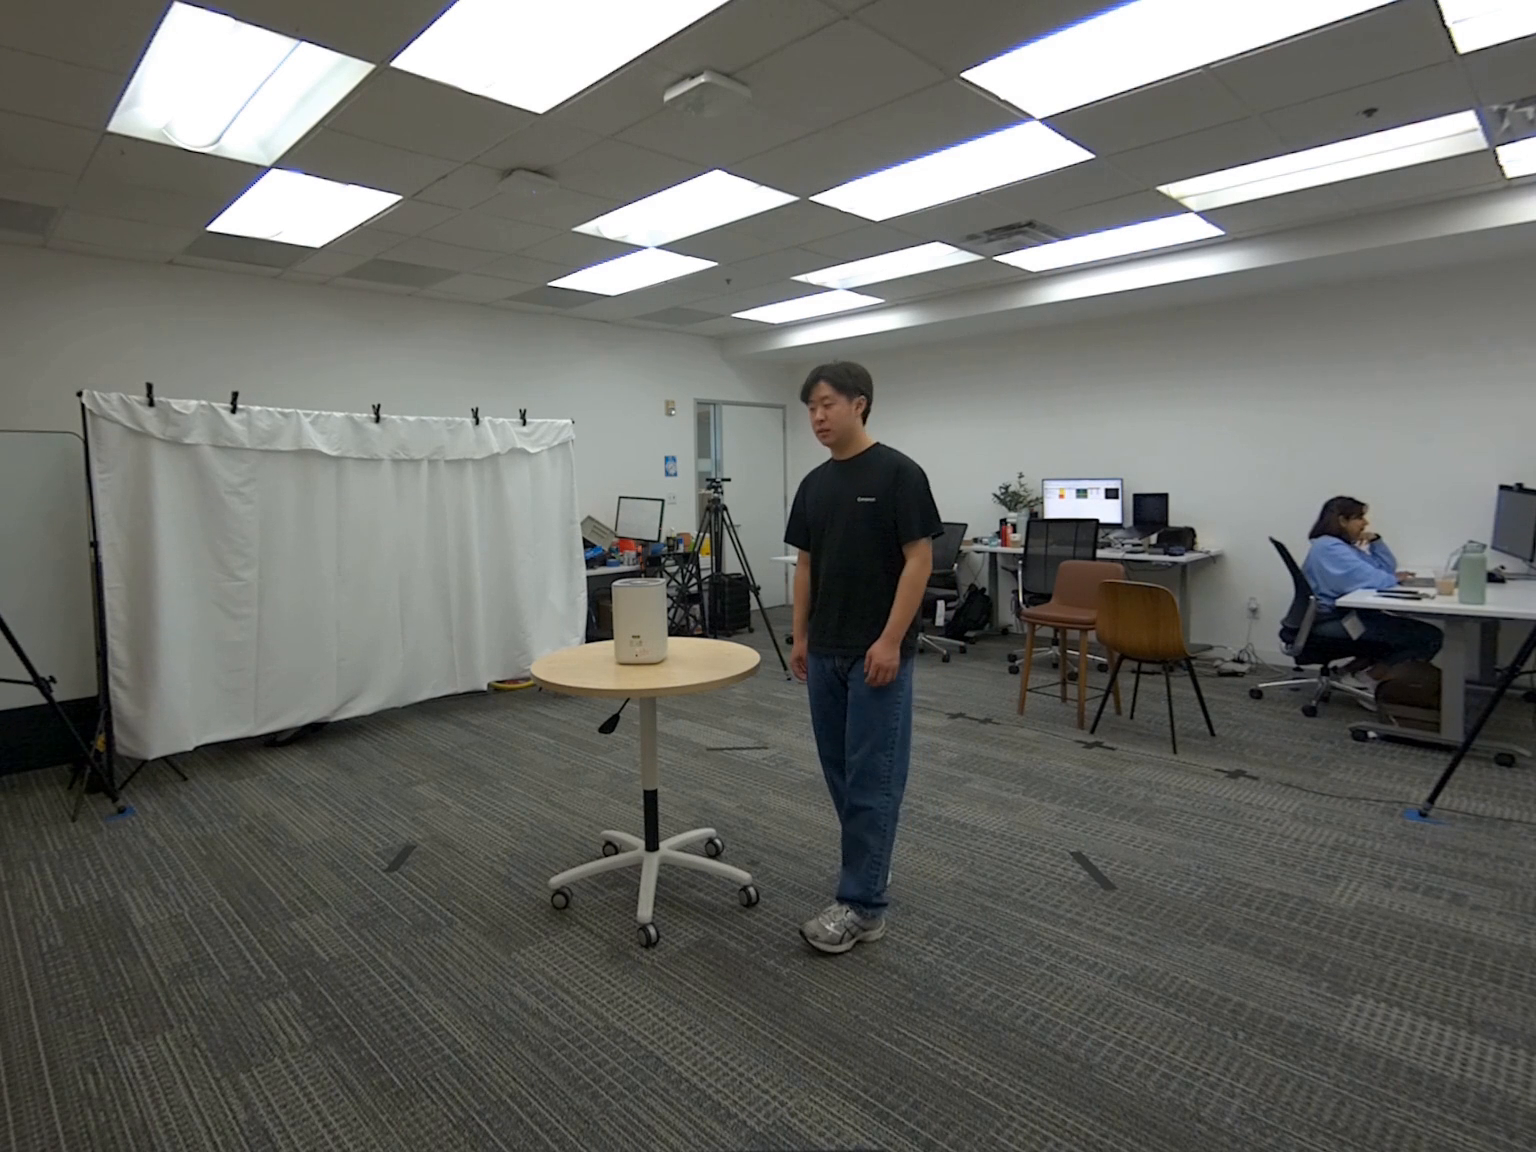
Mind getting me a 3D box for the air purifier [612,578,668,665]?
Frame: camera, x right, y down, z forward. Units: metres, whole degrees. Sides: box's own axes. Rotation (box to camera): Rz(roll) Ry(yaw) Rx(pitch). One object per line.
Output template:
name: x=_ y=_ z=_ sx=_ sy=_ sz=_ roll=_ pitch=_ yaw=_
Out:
air purifier: x=-0.417 y=0.150 z=2.848 sx=0.172 sy=0.264 sz=0.171 roll=-1 pitch=4 yaw=6
